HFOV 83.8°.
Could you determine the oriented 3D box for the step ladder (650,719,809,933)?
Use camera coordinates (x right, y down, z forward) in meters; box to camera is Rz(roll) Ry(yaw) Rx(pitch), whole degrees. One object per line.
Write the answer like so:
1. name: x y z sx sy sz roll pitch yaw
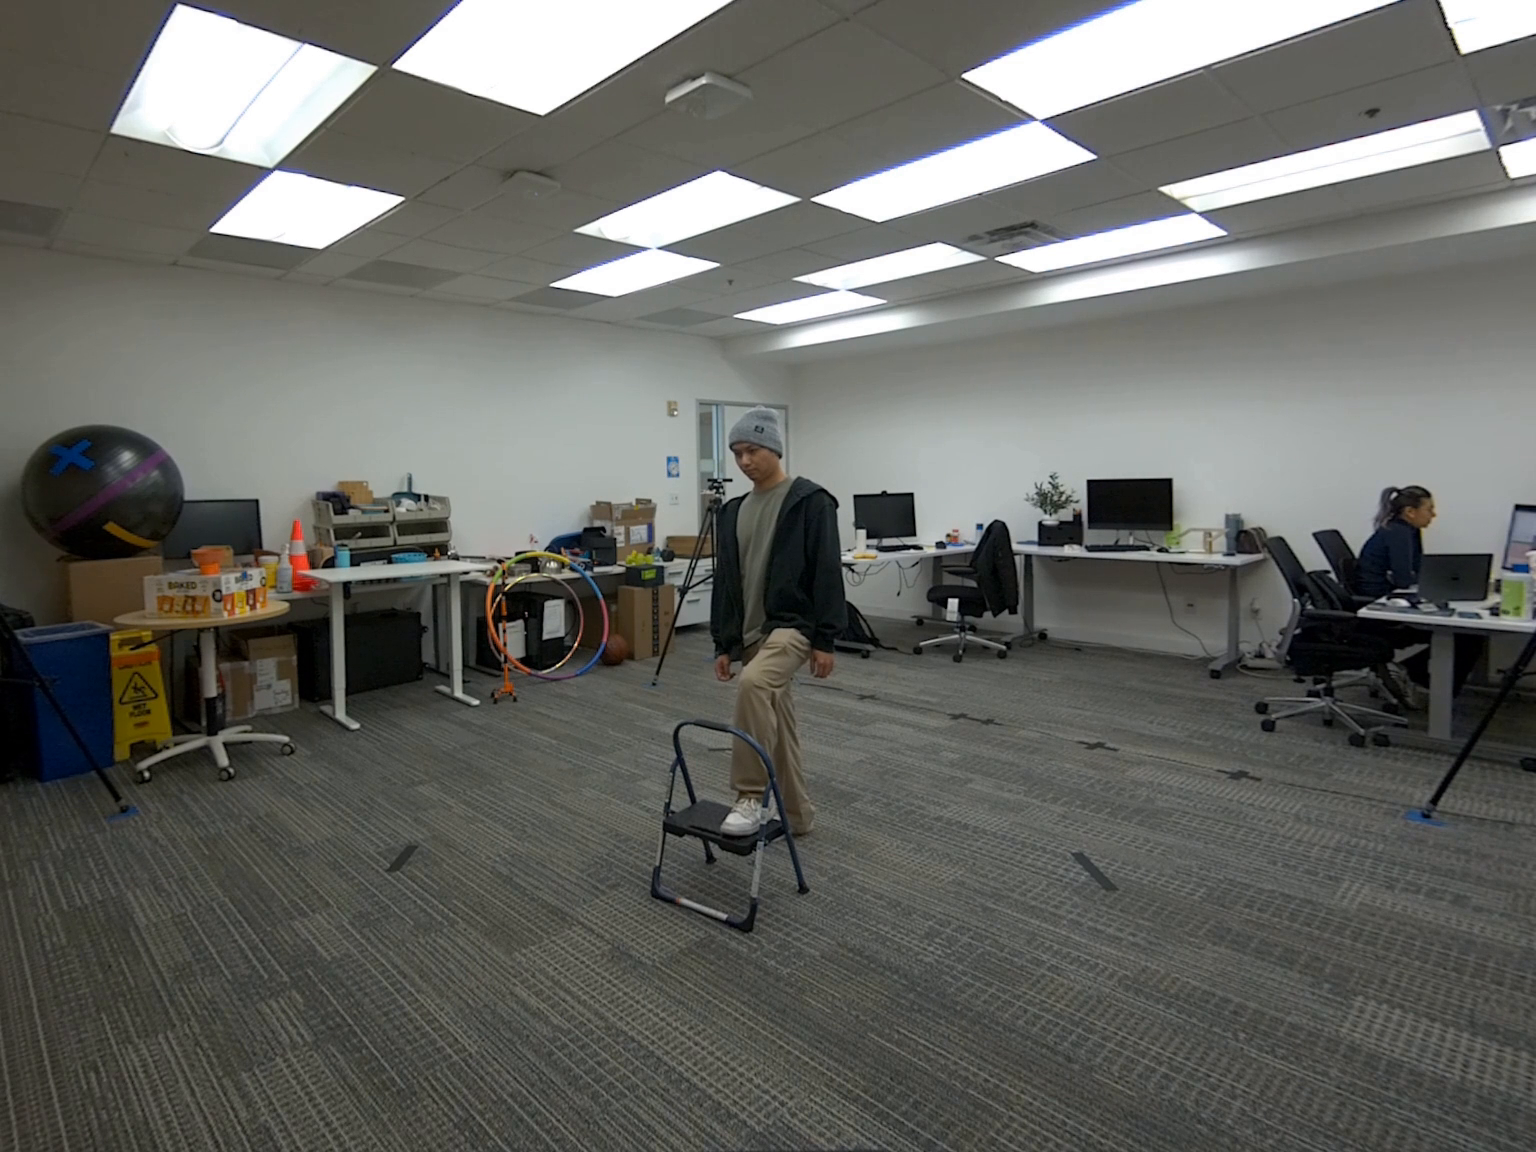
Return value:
1. step ladder: -0.137 0.773 2.865 0.443 0.603 0.341 3 6 35
